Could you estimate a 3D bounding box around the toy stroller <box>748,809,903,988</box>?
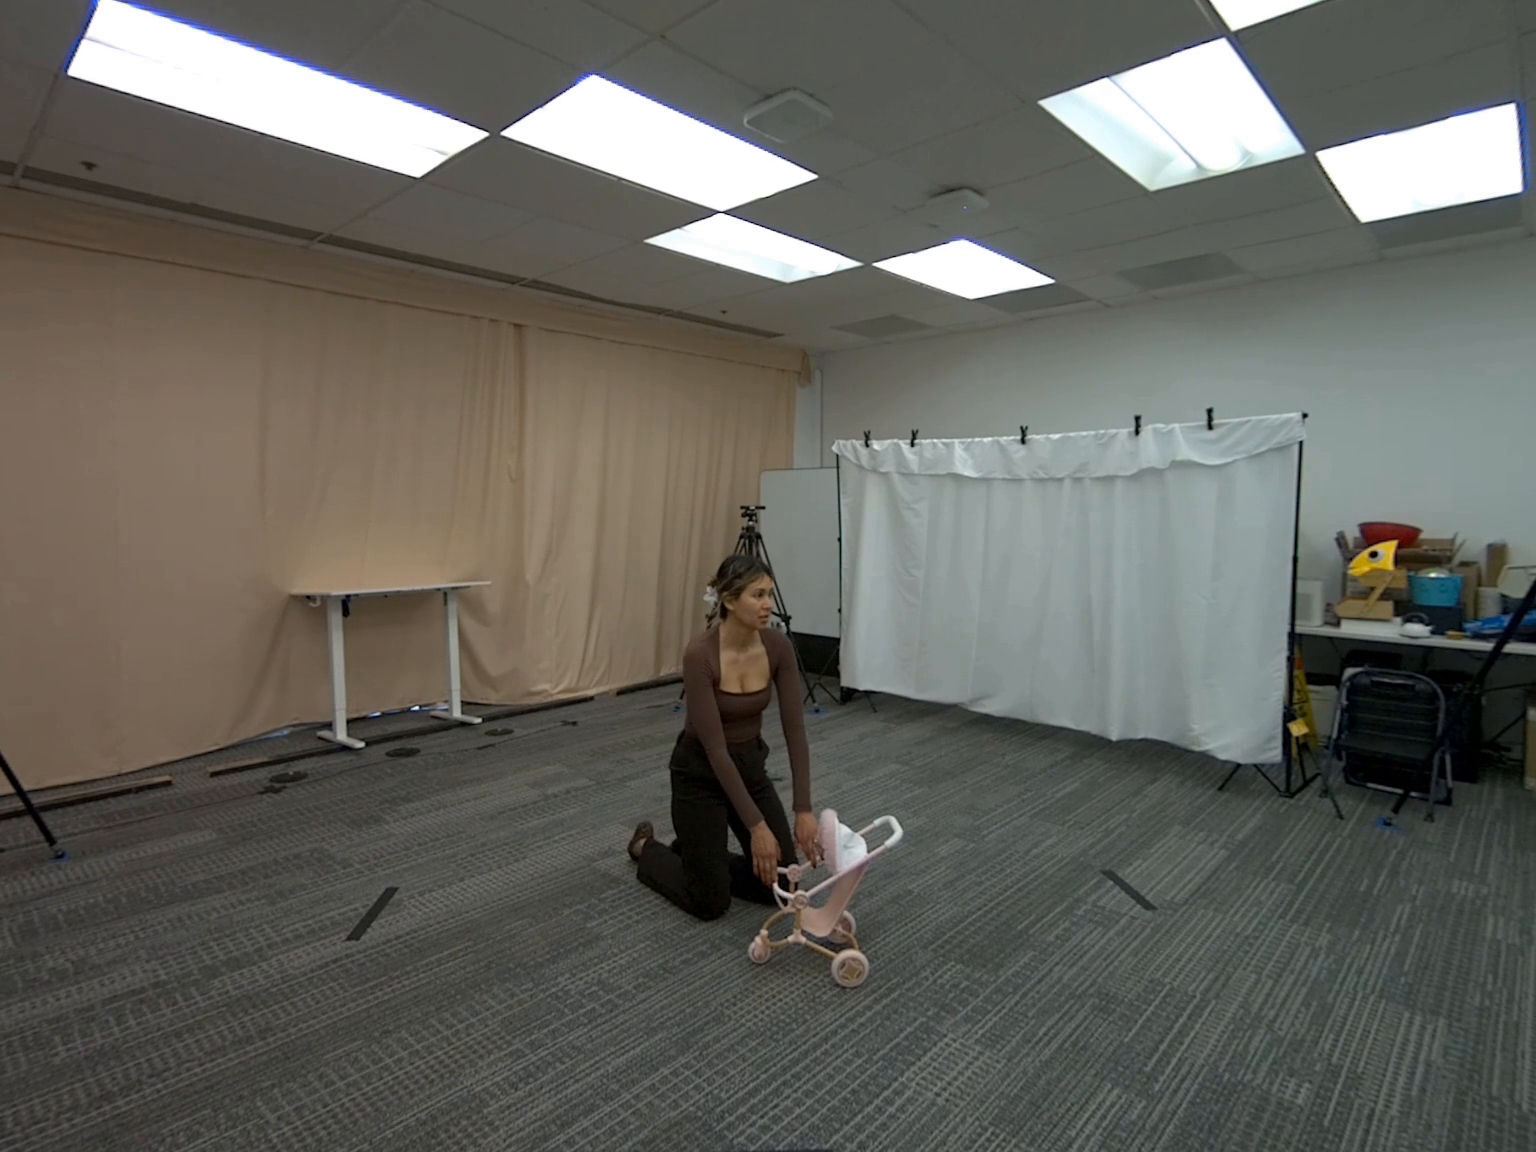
[{"bbox_3d":[0.169,0.952,2.560,0.343,0.534,0.280,16,3,3],"label":"toy stroller"}]
